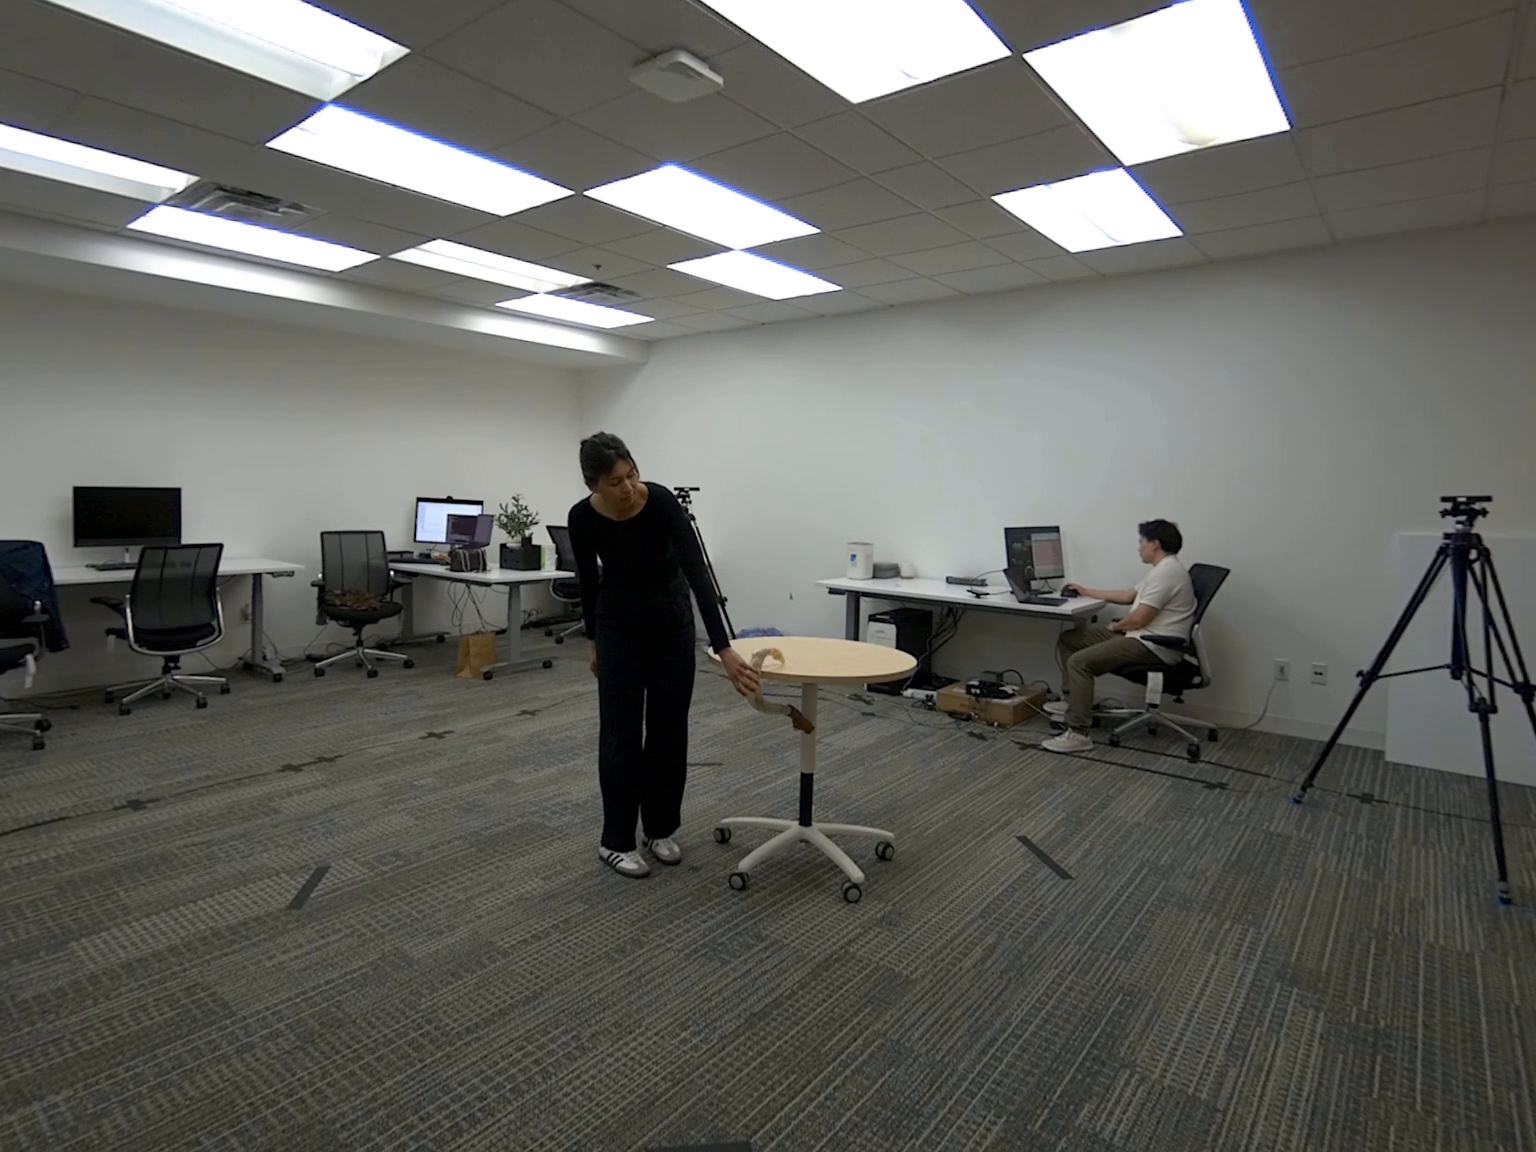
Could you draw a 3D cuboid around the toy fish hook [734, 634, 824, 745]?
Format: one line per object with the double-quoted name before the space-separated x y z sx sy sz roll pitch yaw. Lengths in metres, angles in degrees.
"toy fish hook" 0.048 0.406 2.956 0.050 0.227 0.485 2 -25 31
